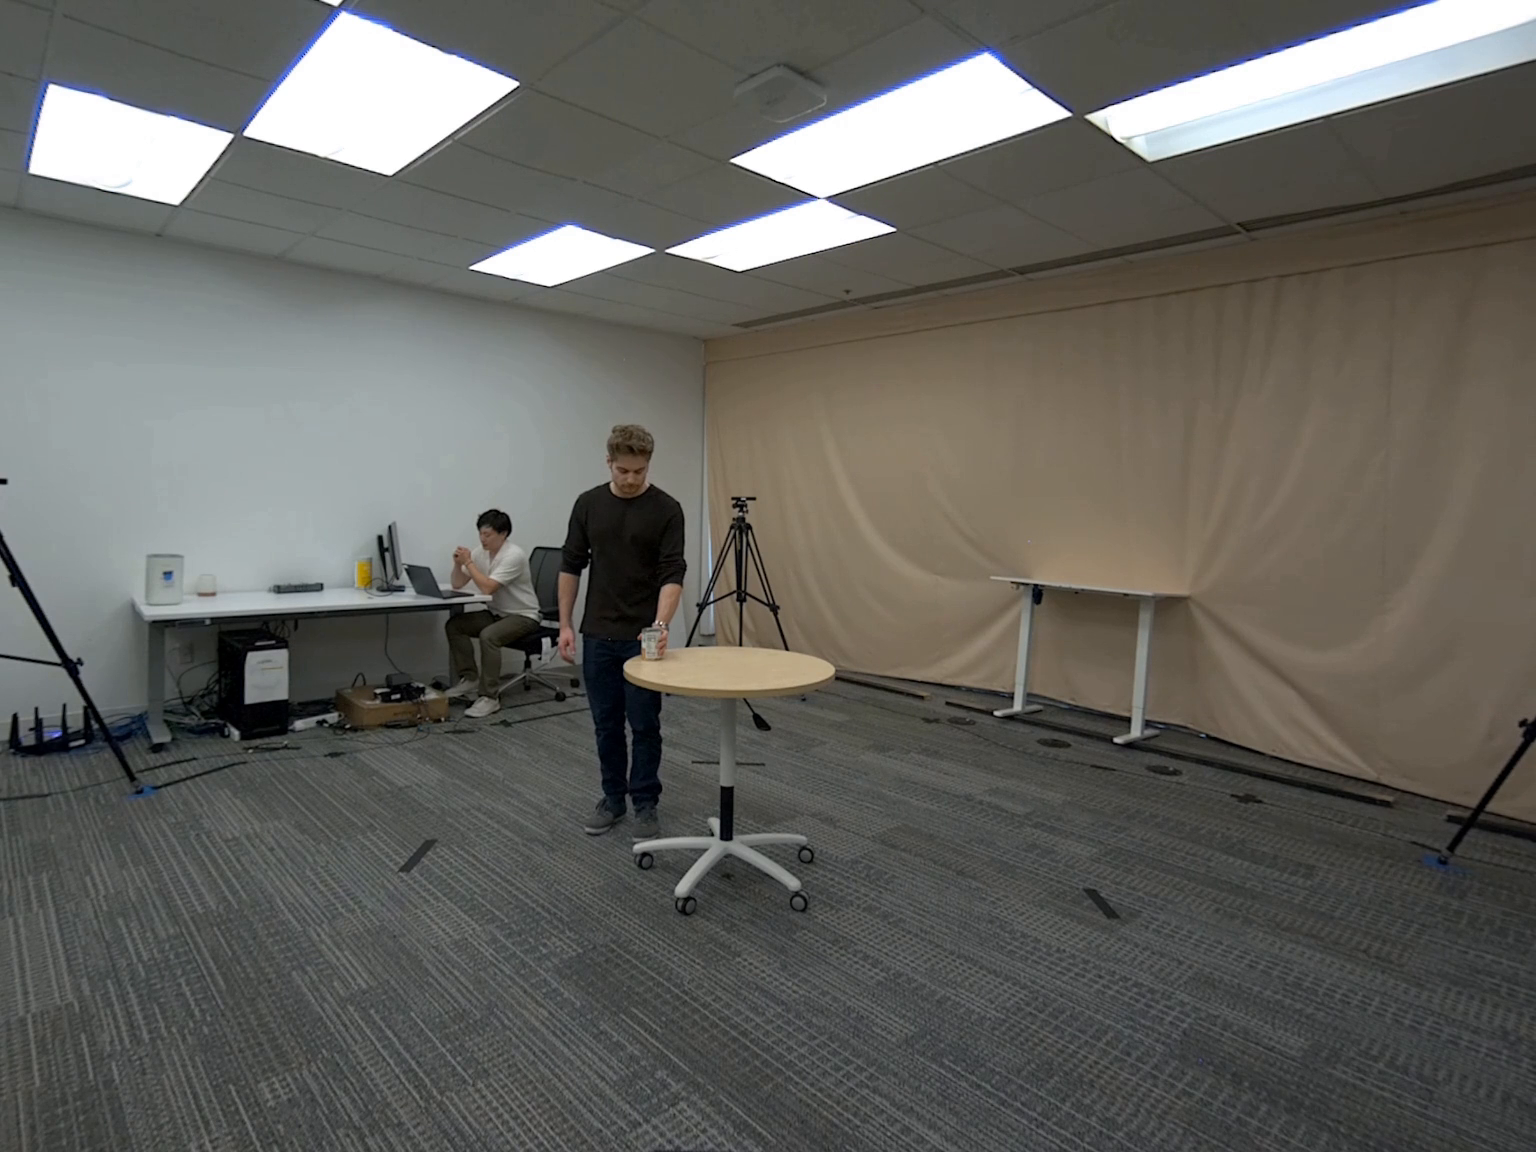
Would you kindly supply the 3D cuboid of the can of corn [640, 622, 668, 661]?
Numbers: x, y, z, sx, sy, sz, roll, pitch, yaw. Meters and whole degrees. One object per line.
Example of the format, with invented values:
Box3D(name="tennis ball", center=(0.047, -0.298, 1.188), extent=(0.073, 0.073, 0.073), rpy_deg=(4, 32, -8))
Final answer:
Box3D(name="can of corn", center=(-0.445, 0.256, 3.153), extent=(0.074, 0.111, 0.074), rpy_deg=(1, 0, -1))
